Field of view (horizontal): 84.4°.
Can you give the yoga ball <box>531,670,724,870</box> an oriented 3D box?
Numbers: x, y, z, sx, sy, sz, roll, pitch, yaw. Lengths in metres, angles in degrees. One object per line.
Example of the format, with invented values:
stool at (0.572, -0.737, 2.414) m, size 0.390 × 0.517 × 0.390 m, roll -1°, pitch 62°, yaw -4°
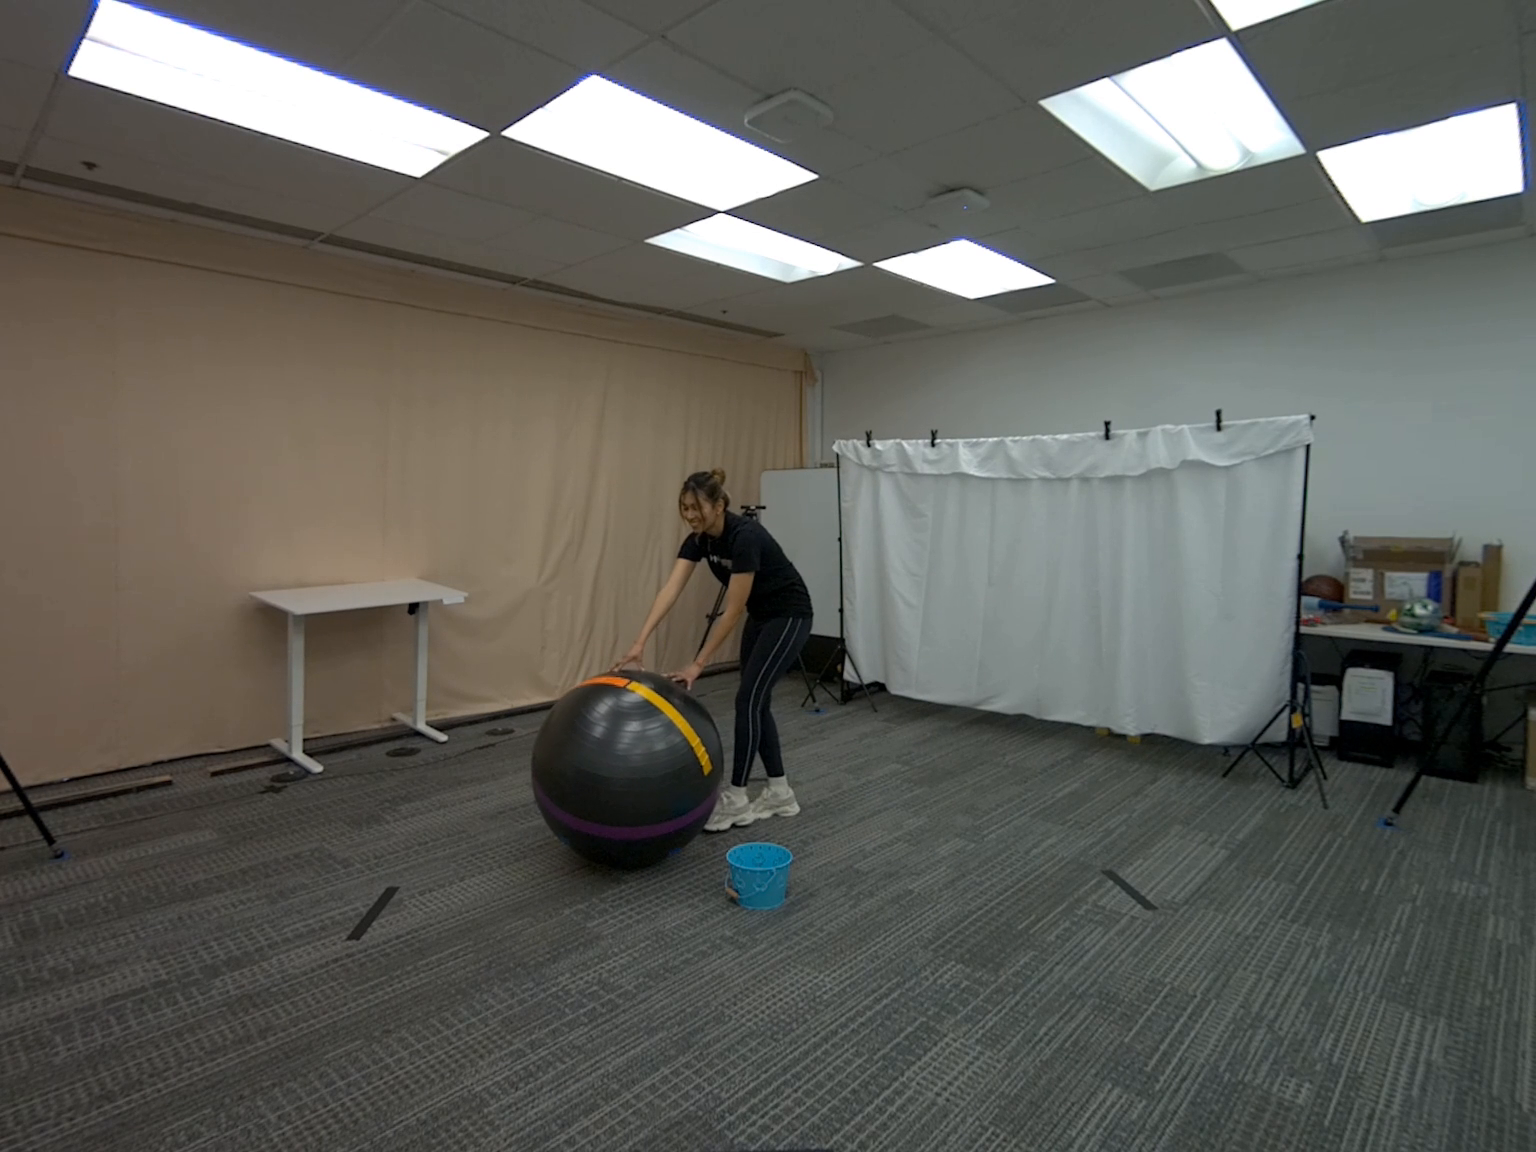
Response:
yoga ball at (-0.554, 0.751, 3.334) m, size 0.757 × 0.756 × 0.760 m, roll 0°, pitch 4°, yaw -2°
